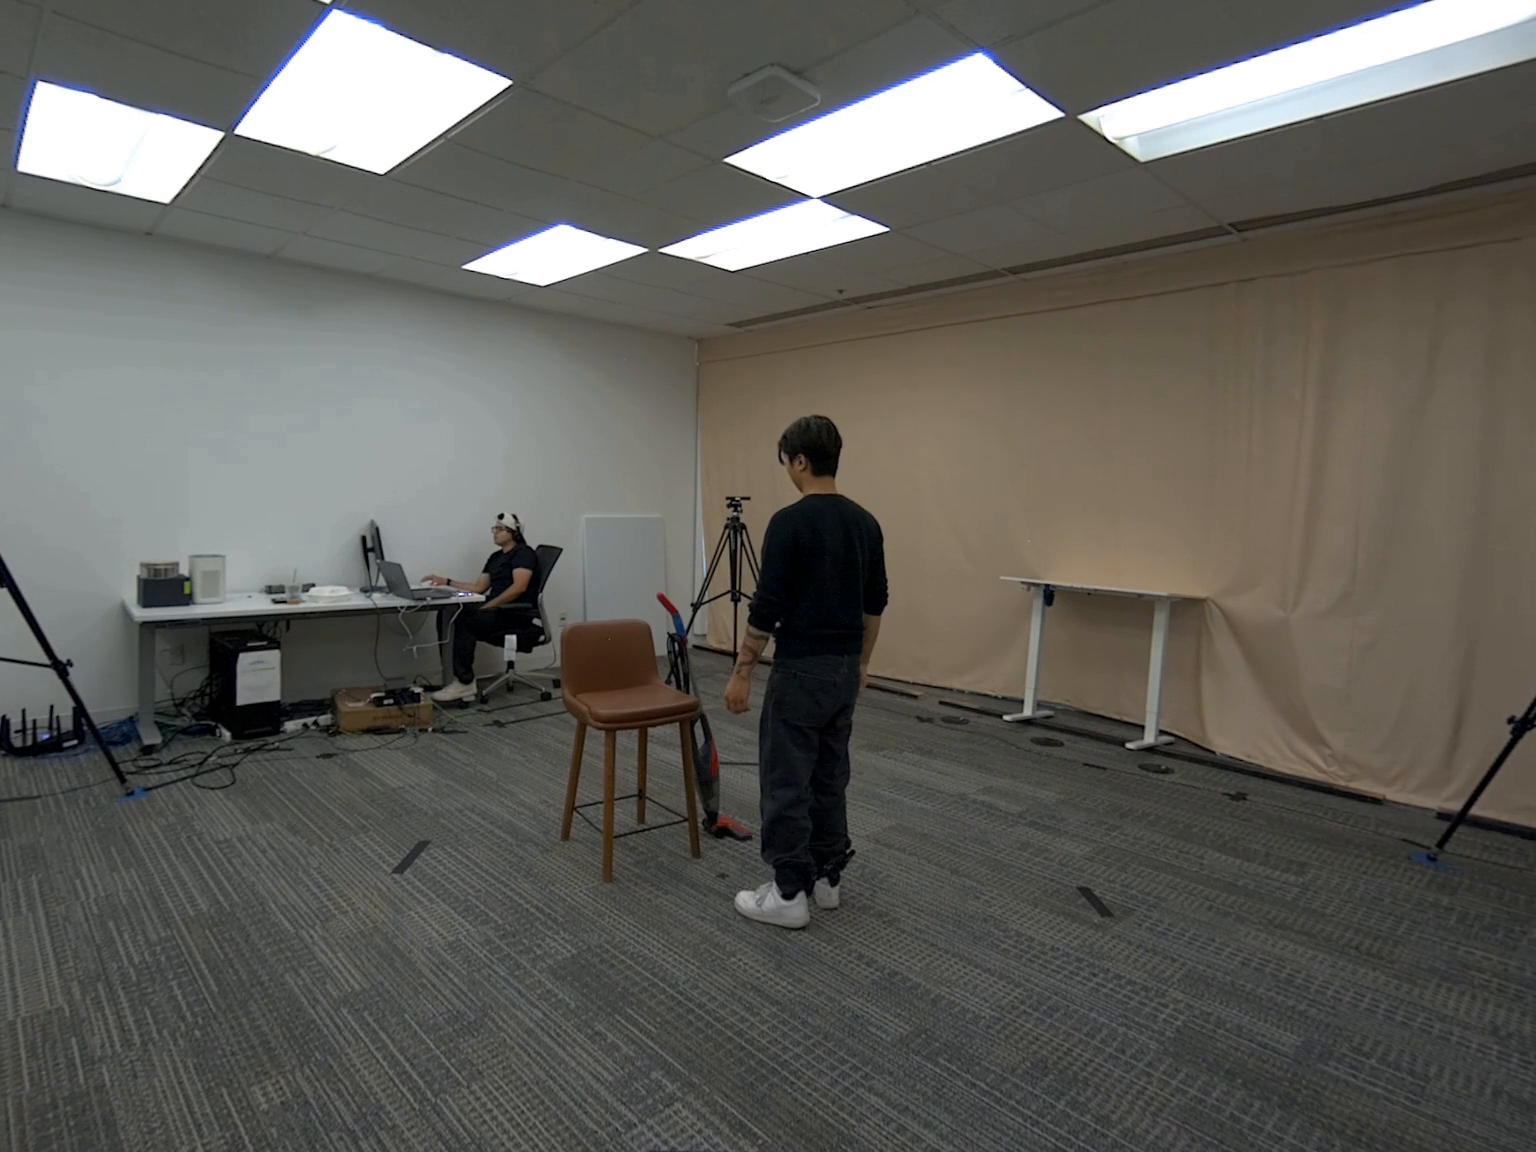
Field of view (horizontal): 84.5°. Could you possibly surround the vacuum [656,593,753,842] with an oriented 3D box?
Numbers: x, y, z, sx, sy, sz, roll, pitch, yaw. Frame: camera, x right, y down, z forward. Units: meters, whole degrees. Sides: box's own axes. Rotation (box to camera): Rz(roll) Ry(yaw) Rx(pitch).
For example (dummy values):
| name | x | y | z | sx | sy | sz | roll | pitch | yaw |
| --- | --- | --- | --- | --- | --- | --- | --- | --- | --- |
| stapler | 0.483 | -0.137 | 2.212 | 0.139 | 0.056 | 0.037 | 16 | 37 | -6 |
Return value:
| name | x | y | z | sx | sy | sz | roll | pitch | yaw |
| --- | --- | --- | --- | --- | --- | --- | --- | --- | --- |
| vacuum | -0.317 | 0.572 | 3.435 | 0.142 | 1.039 | 0.258 | -19 | 12 | -29 |
